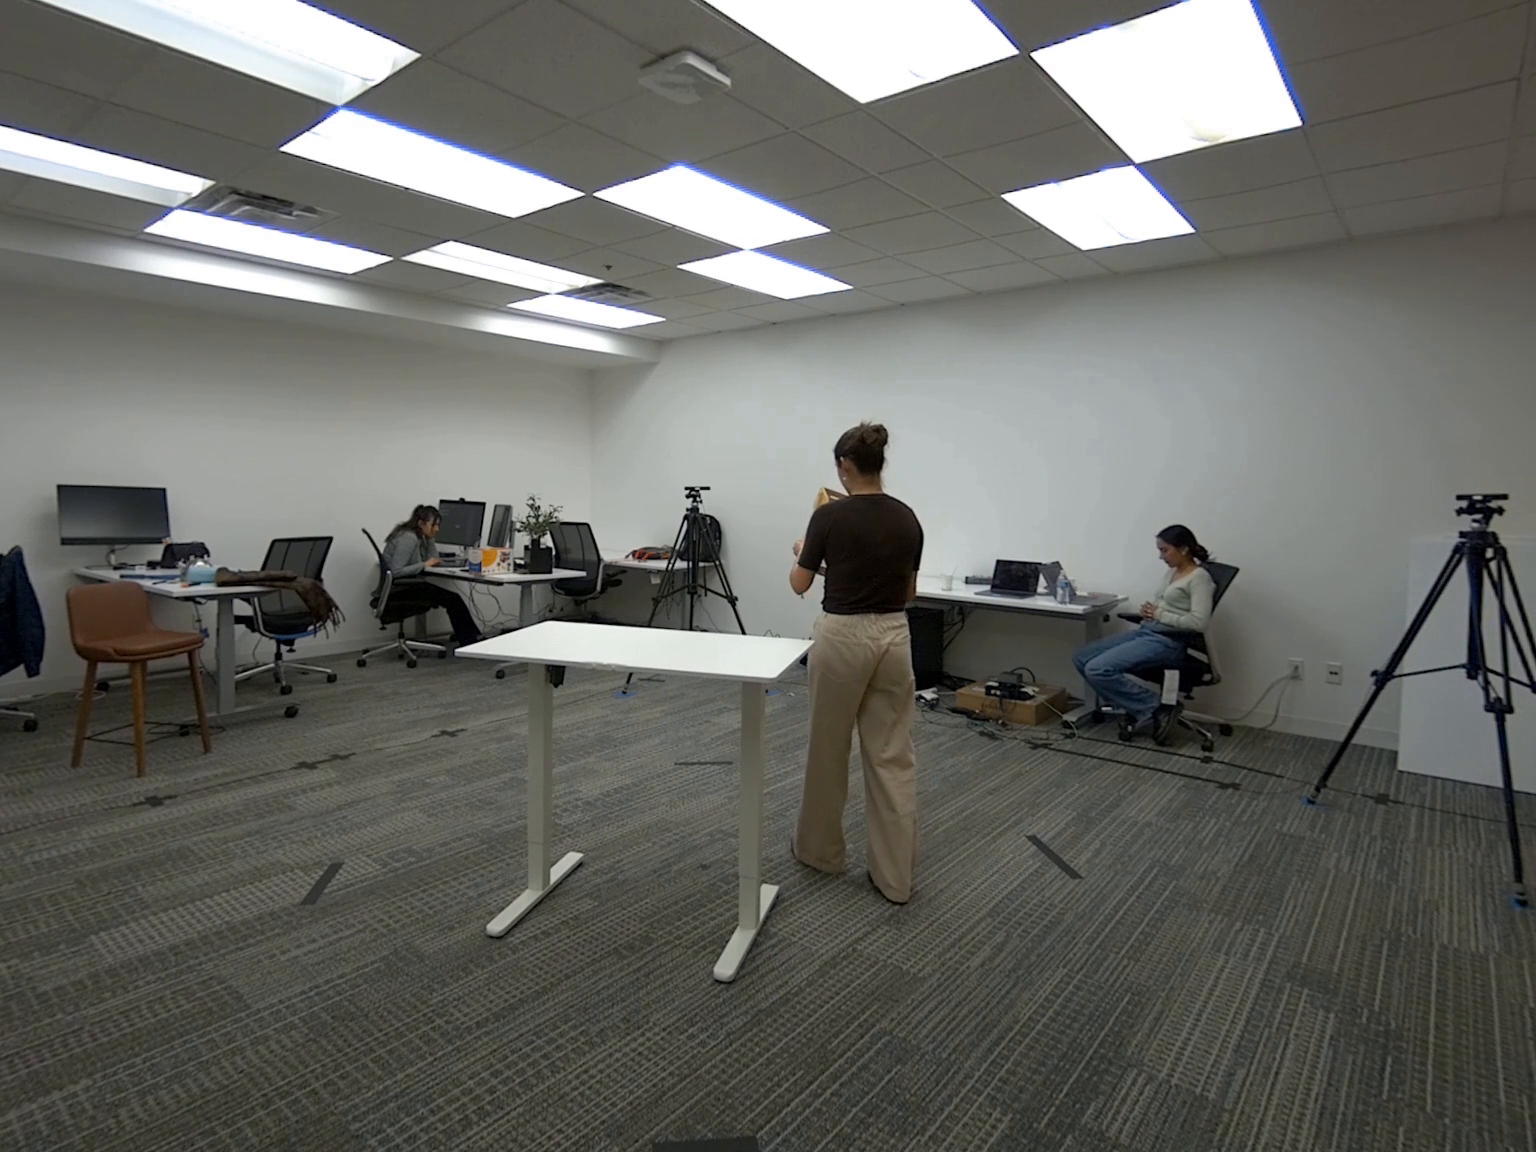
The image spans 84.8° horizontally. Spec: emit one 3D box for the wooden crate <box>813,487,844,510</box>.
[{"bbox_3d":[0.319,-0.145,3.292,0.320,0.271,0.309,19,21,-10],"label":"wooden crate"}]
